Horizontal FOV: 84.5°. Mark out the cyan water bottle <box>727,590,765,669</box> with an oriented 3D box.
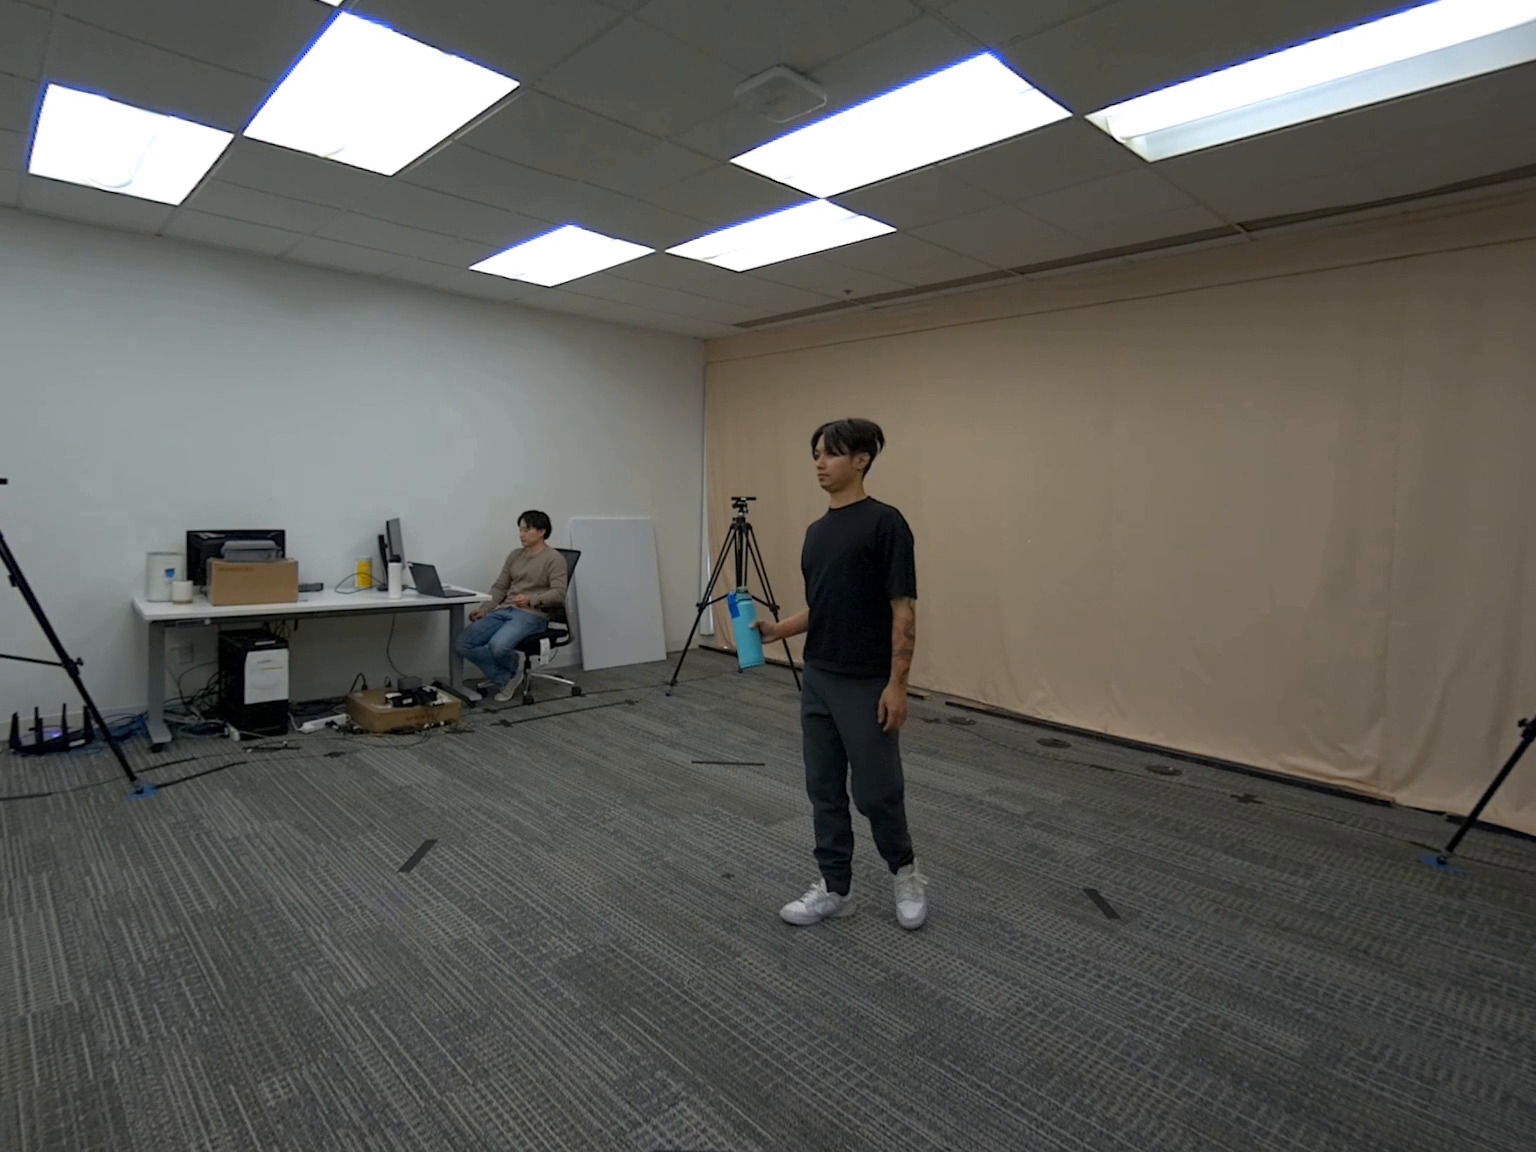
[{"bbox_3d":[-0.070,0.184,2.967,0.092,0.286,0.092,-11,-9,-3],"label":"cyan water bottle"}]
